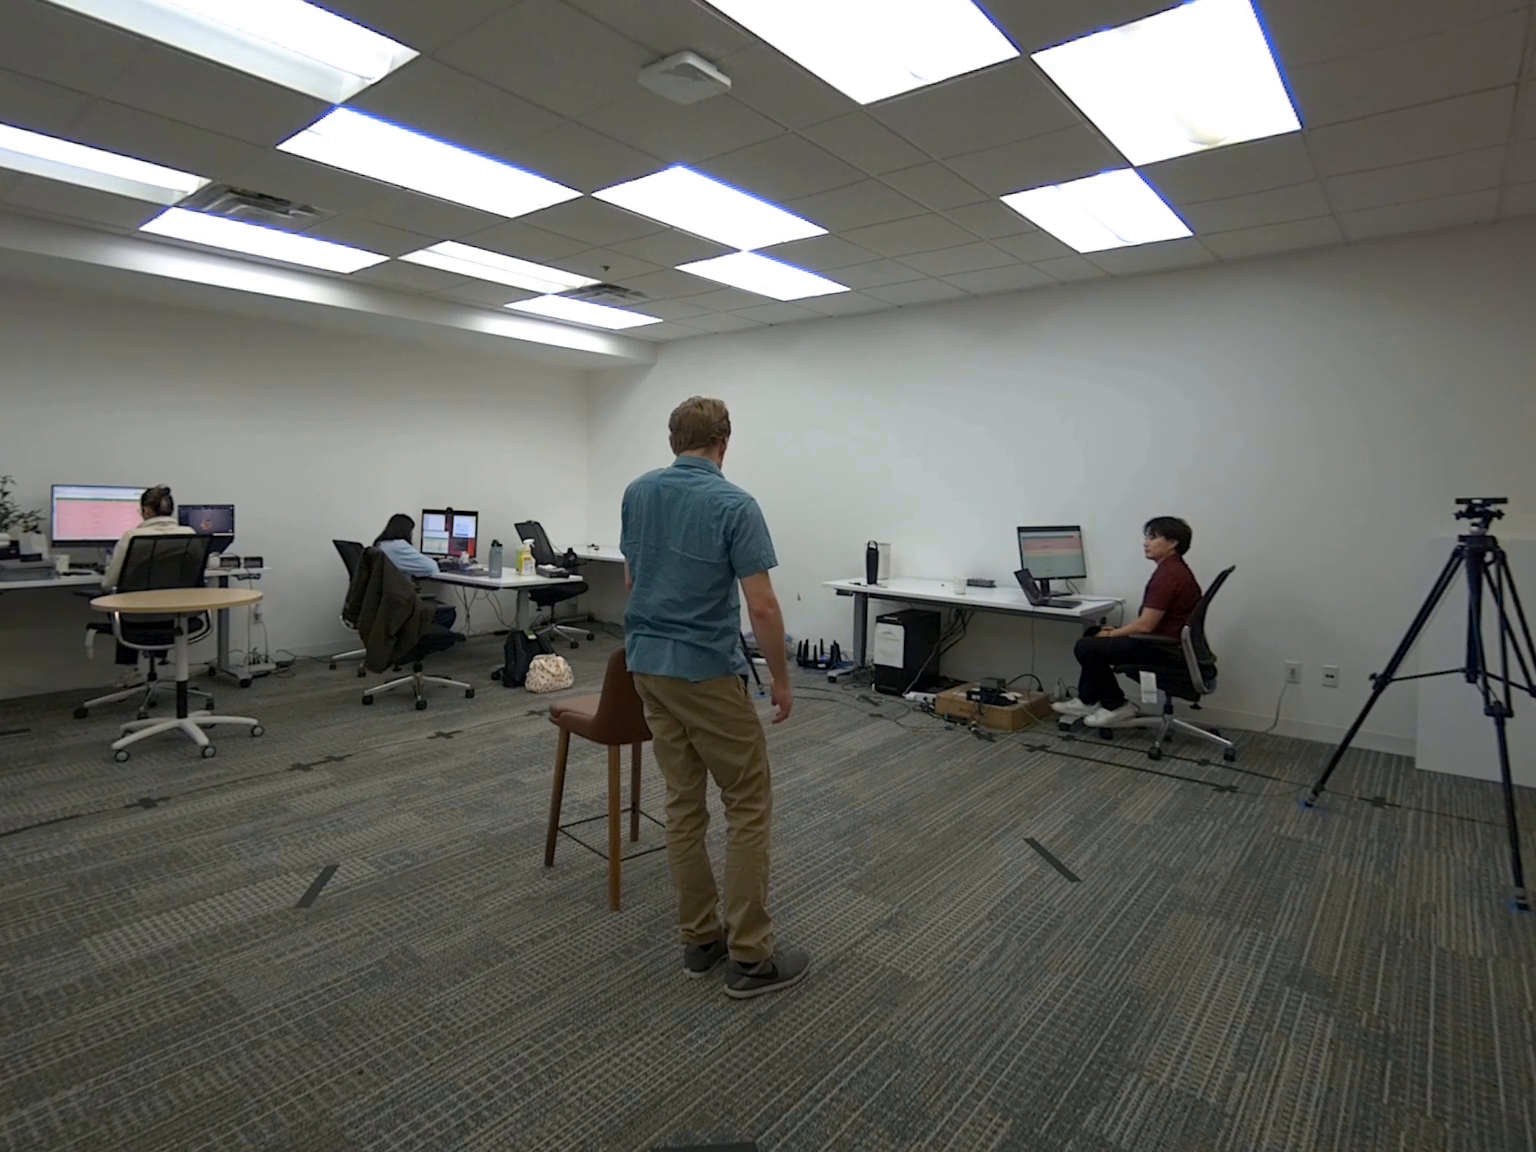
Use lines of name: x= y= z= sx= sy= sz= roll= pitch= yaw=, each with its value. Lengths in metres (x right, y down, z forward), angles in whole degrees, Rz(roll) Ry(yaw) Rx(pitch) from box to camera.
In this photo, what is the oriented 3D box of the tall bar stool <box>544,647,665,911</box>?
tall bar stool: x=-0.518 y=0.633 z=3.046 sx=0.442 sy=0.886 sz=0.484 roll=-1 pitch=6 yaw=-42
